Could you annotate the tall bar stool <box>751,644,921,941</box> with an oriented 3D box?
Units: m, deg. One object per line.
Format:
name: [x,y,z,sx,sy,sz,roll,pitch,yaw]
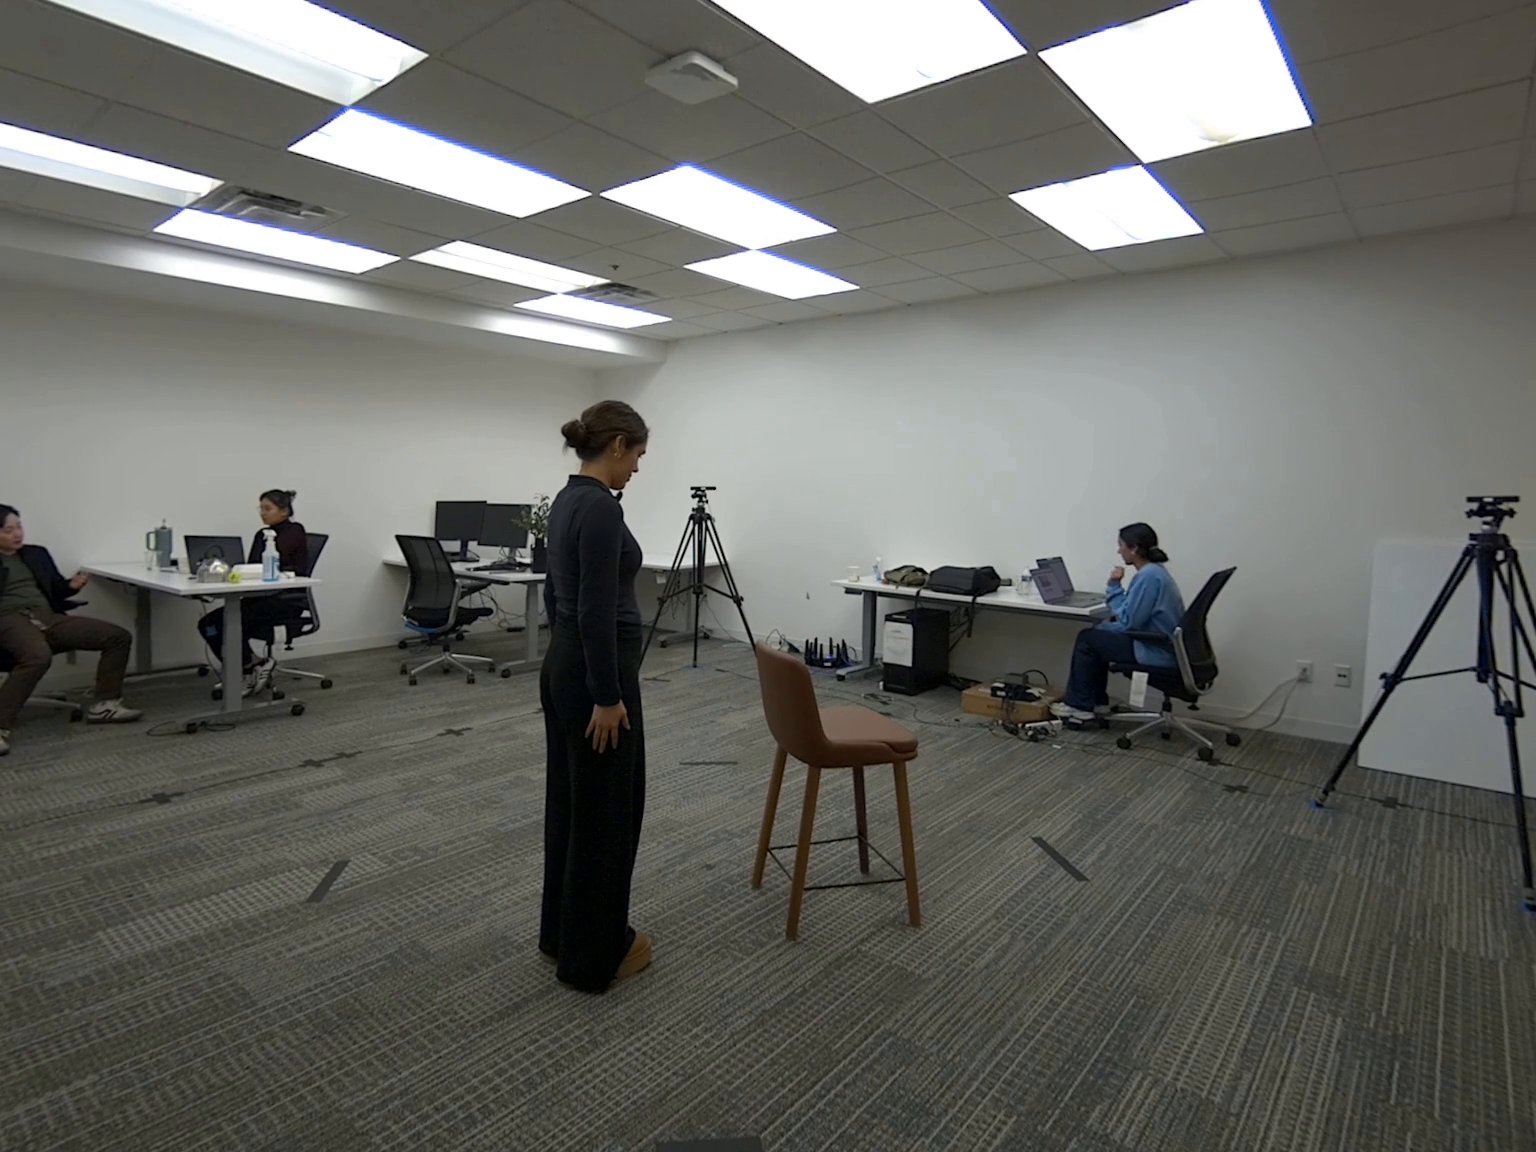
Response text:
tall bar stool: [0.206,0.659,2.836,0.460,0.887,0.466,-2,4,-17]
